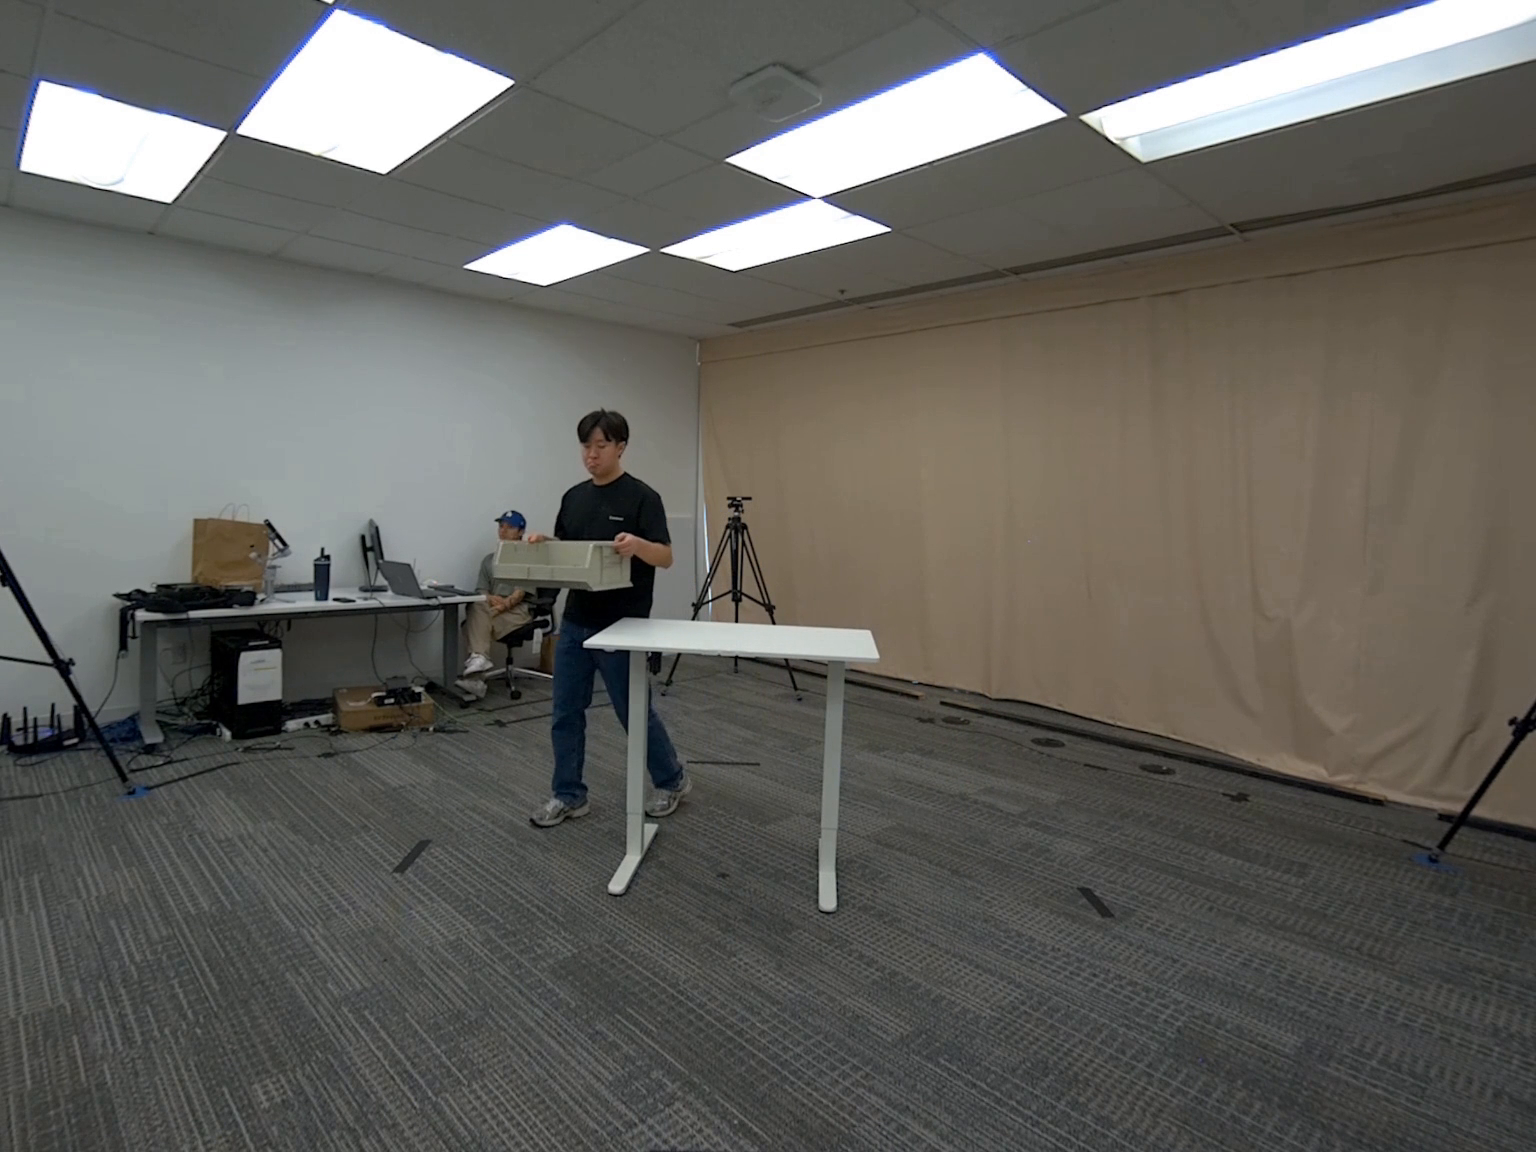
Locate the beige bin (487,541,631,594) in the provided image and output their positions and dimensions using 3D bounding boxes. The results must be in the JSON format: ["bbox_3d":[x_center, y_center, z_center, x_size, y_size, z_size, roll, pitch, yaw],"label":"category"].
[{"bbox_3d":[-0.797,-0.036,3.285,0.428,0.189,0.372,-1,1,19],"label":"beige bin"}]
